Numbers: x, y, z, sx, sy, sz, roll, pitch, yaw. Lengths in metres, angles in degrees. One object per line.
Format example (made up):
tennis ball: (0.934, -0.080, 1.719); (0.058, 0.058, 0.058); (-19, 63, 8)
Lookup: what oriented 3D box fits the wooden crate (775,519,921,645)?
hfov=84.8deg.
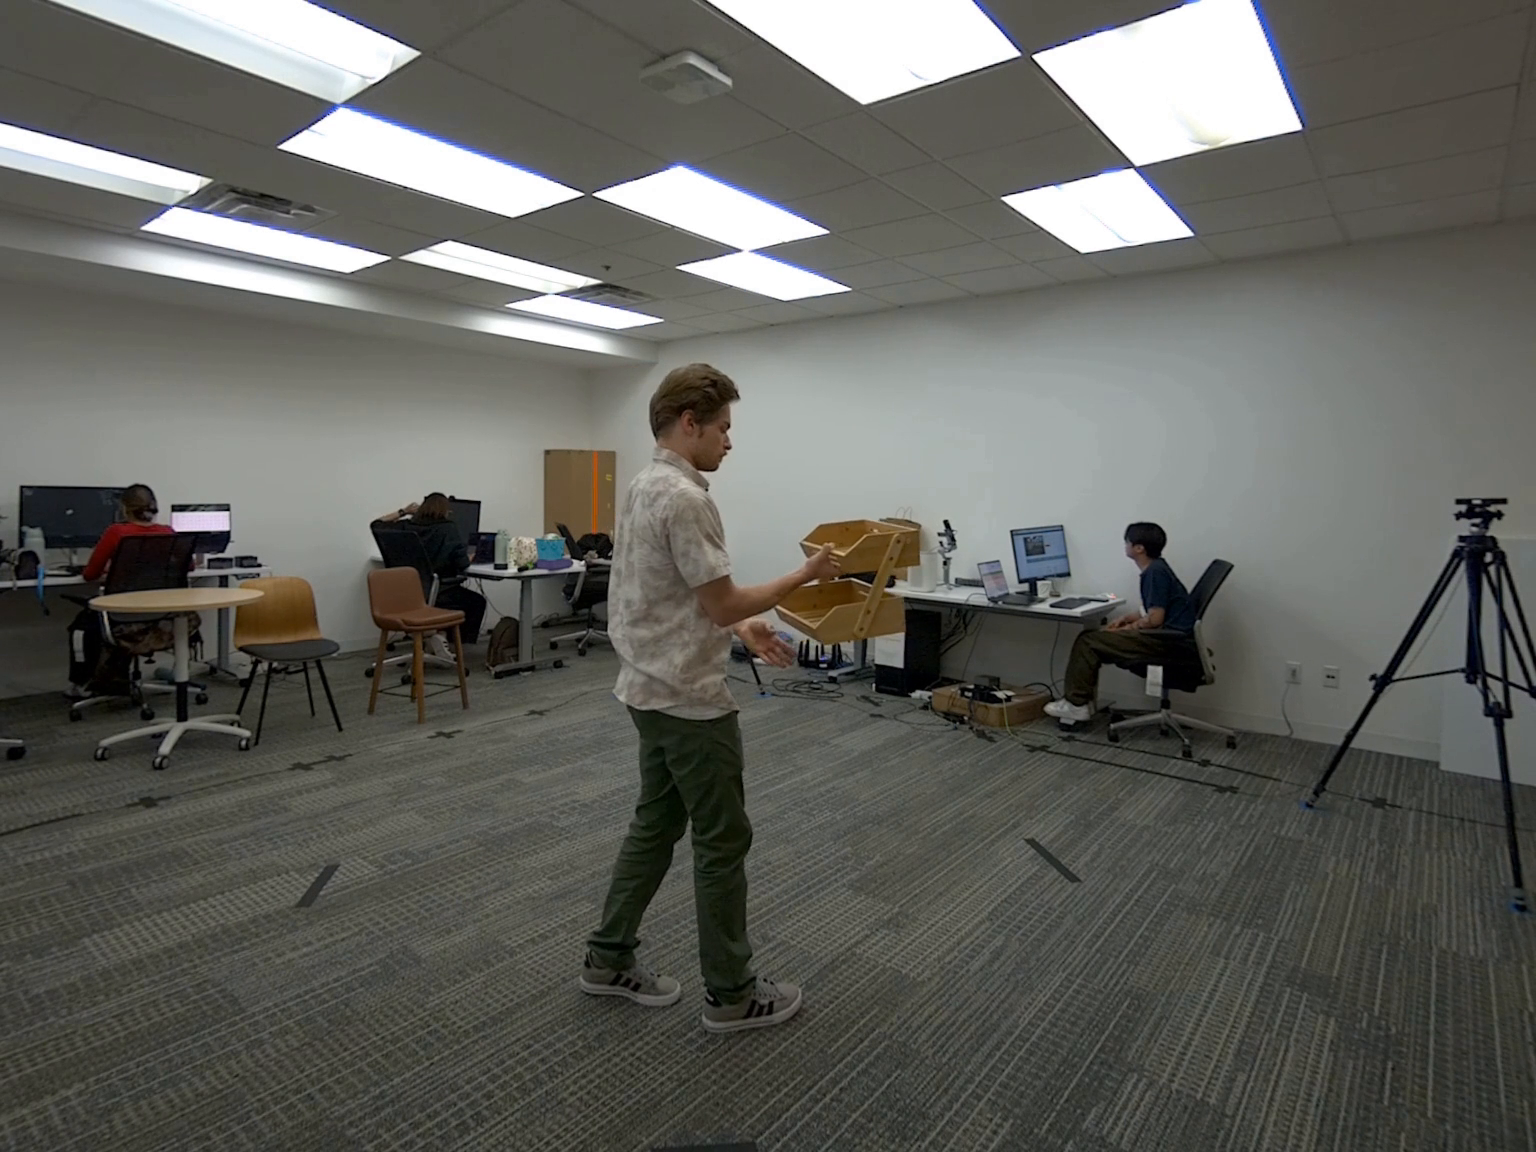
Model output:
wooden crate: (0.178, 0.004, 2.257); (0.298, 0.271, 0.332); (-7, 10, -14)
